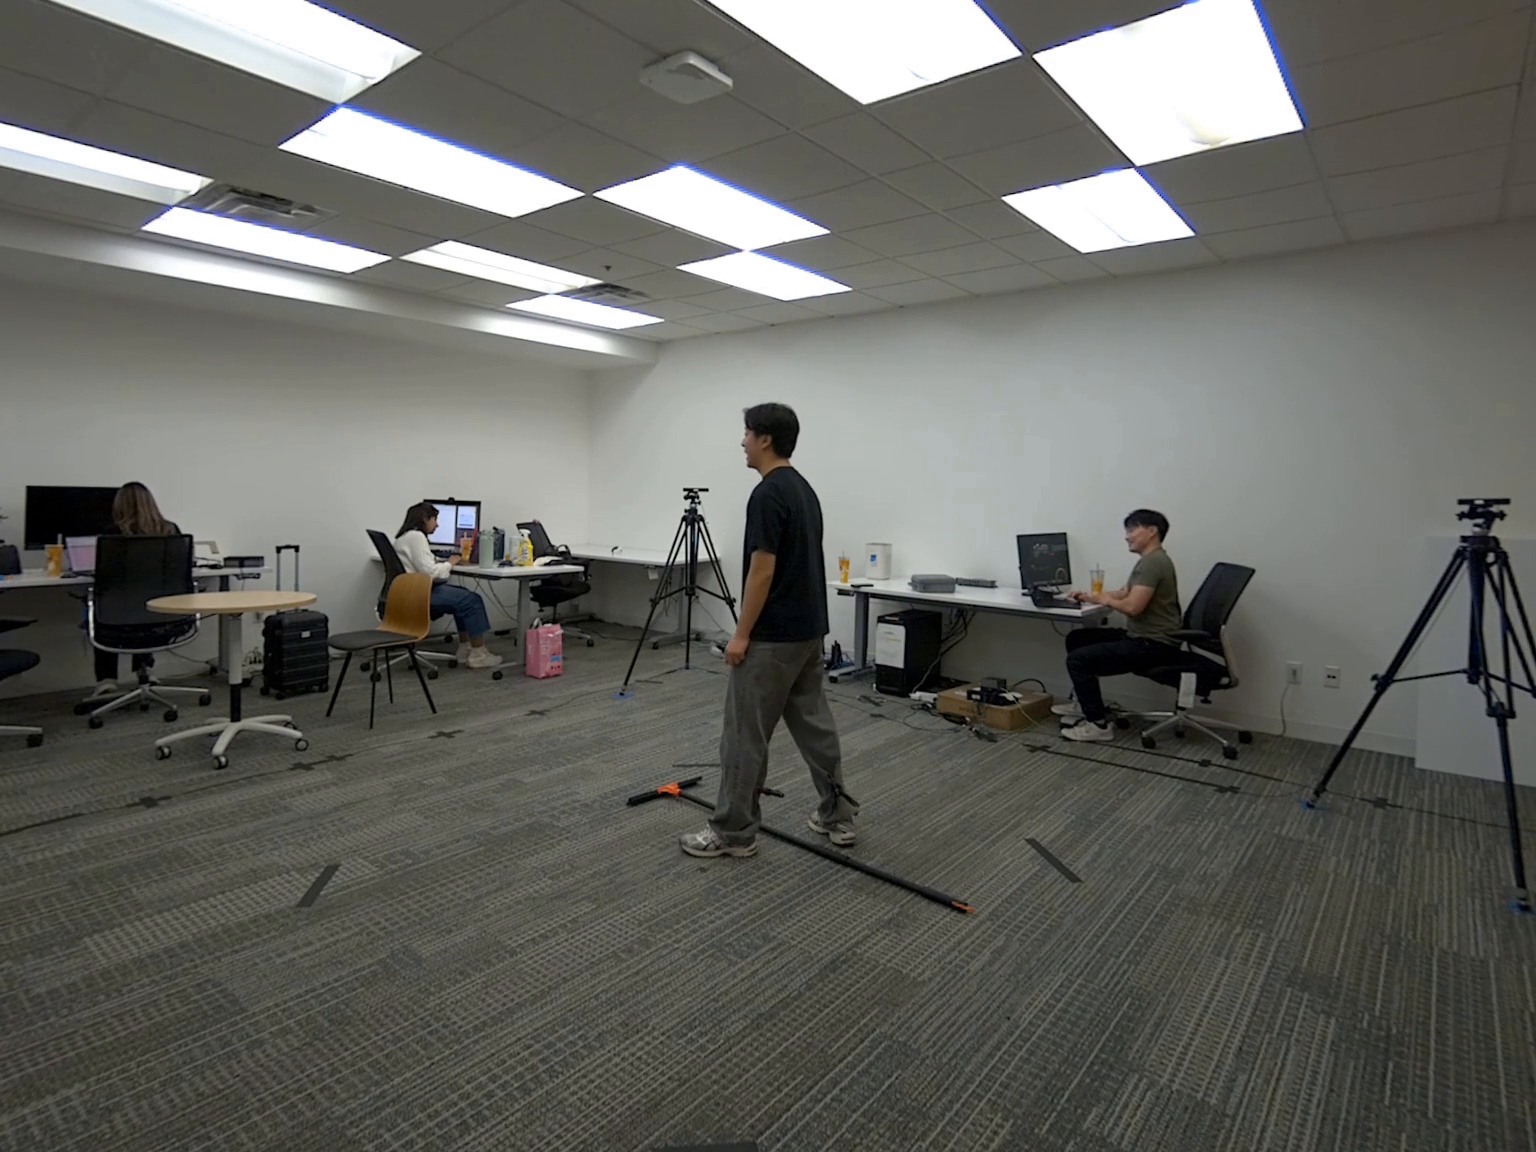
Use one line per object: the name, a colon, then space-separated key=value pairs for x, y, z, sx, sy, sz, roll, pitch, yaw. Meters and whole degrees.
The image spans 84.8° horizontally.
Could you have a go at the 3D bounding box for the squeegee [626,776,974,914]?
squeegee: x=0.084 y=1.021 z=3.352 sx=1.592 sy=0.052 sz=0.425 roll=8 pitch=10 yaw=42
